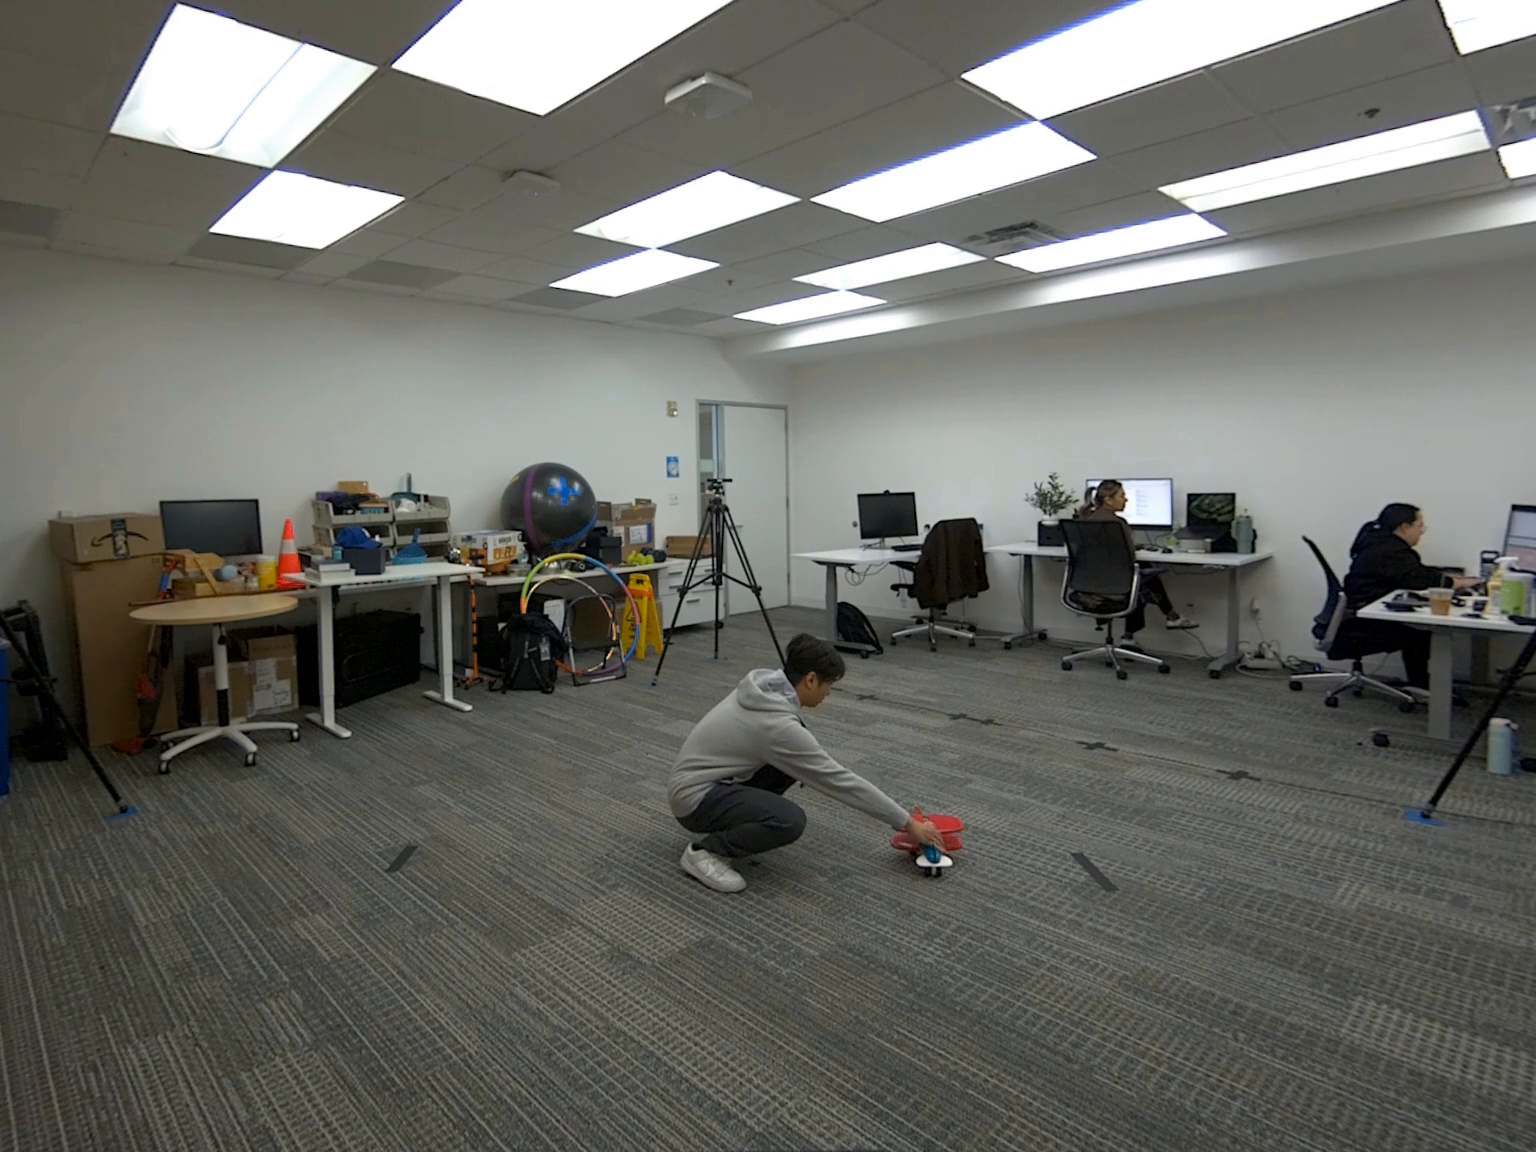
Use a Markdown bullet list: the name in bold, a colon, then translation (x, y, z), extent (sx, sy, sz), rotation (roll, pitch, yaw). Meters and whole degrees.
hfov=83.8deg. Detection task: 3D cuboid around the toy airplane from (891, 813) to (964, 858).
- **toy airplane**: translation (0.599, 0.958, 3.072), extent (0.245, 0.156, 0.266), rotation (-7, 6, -34)
